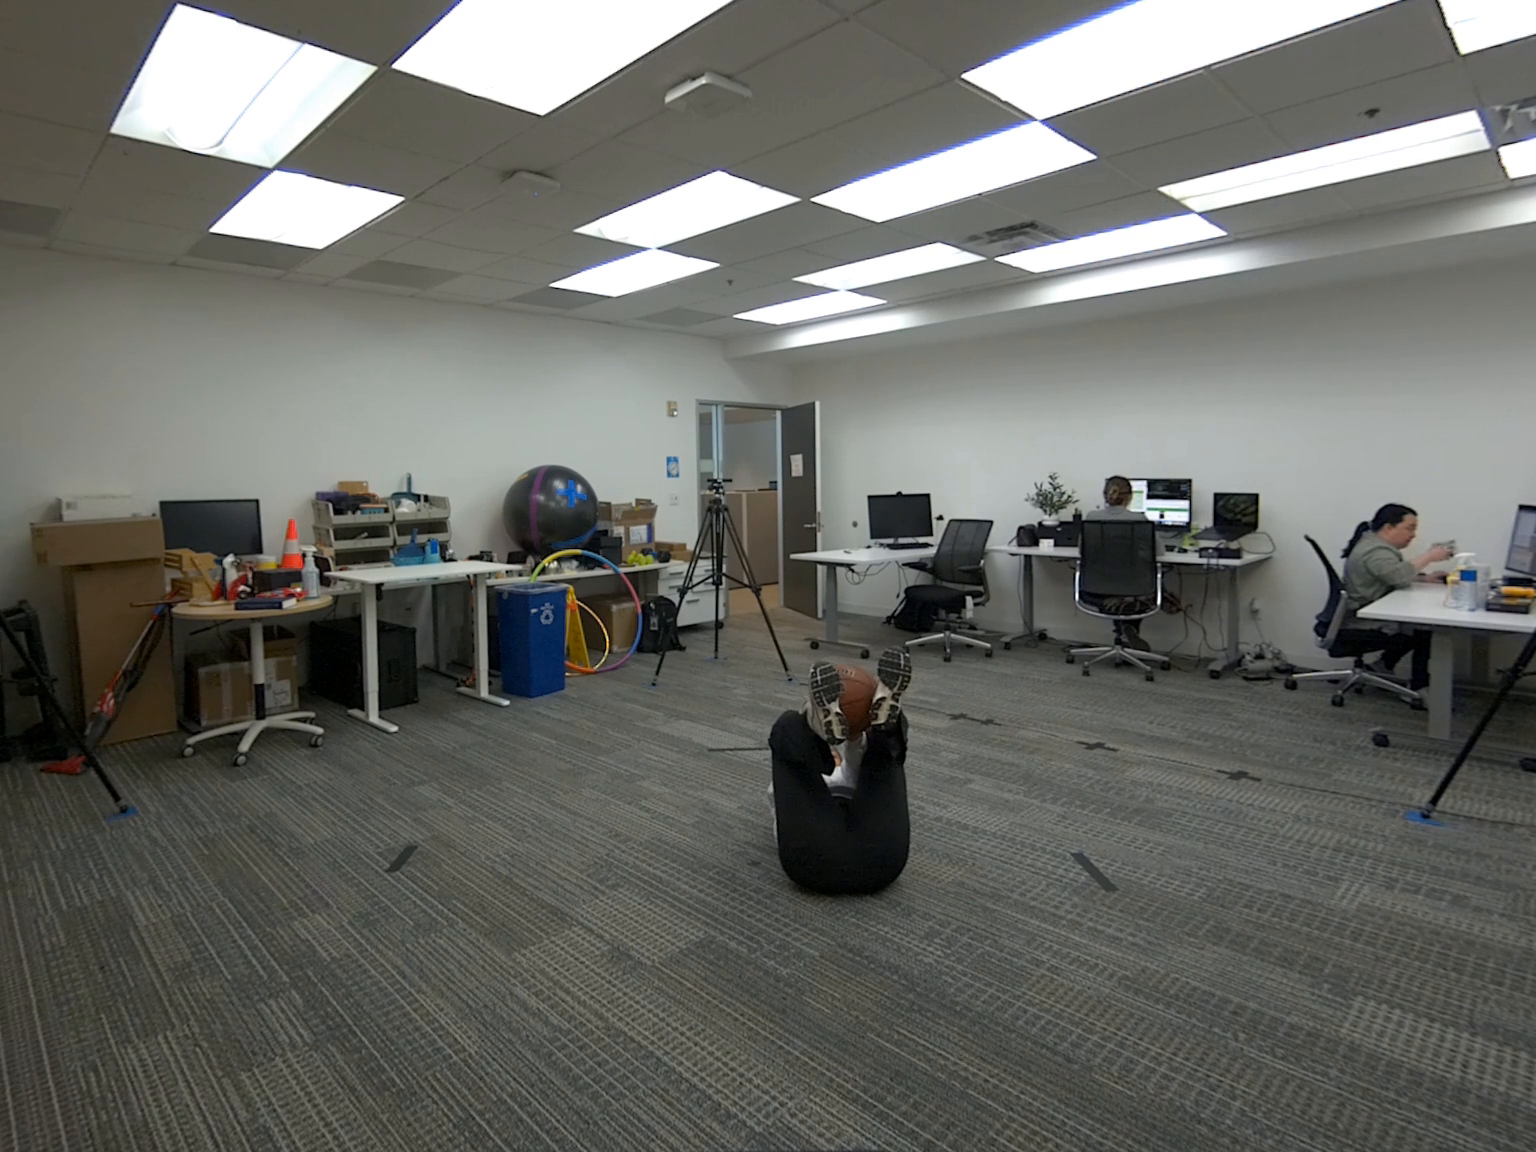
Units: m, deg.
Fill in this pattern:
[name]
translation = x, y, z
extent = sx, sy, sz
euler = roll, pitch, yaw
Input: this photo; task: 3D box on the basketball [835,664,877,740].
[basketball]
translation = 0.265, 0.414, 2.855
extent = 0.236, 0.235, 0.237
euler = -1, 5, -2
